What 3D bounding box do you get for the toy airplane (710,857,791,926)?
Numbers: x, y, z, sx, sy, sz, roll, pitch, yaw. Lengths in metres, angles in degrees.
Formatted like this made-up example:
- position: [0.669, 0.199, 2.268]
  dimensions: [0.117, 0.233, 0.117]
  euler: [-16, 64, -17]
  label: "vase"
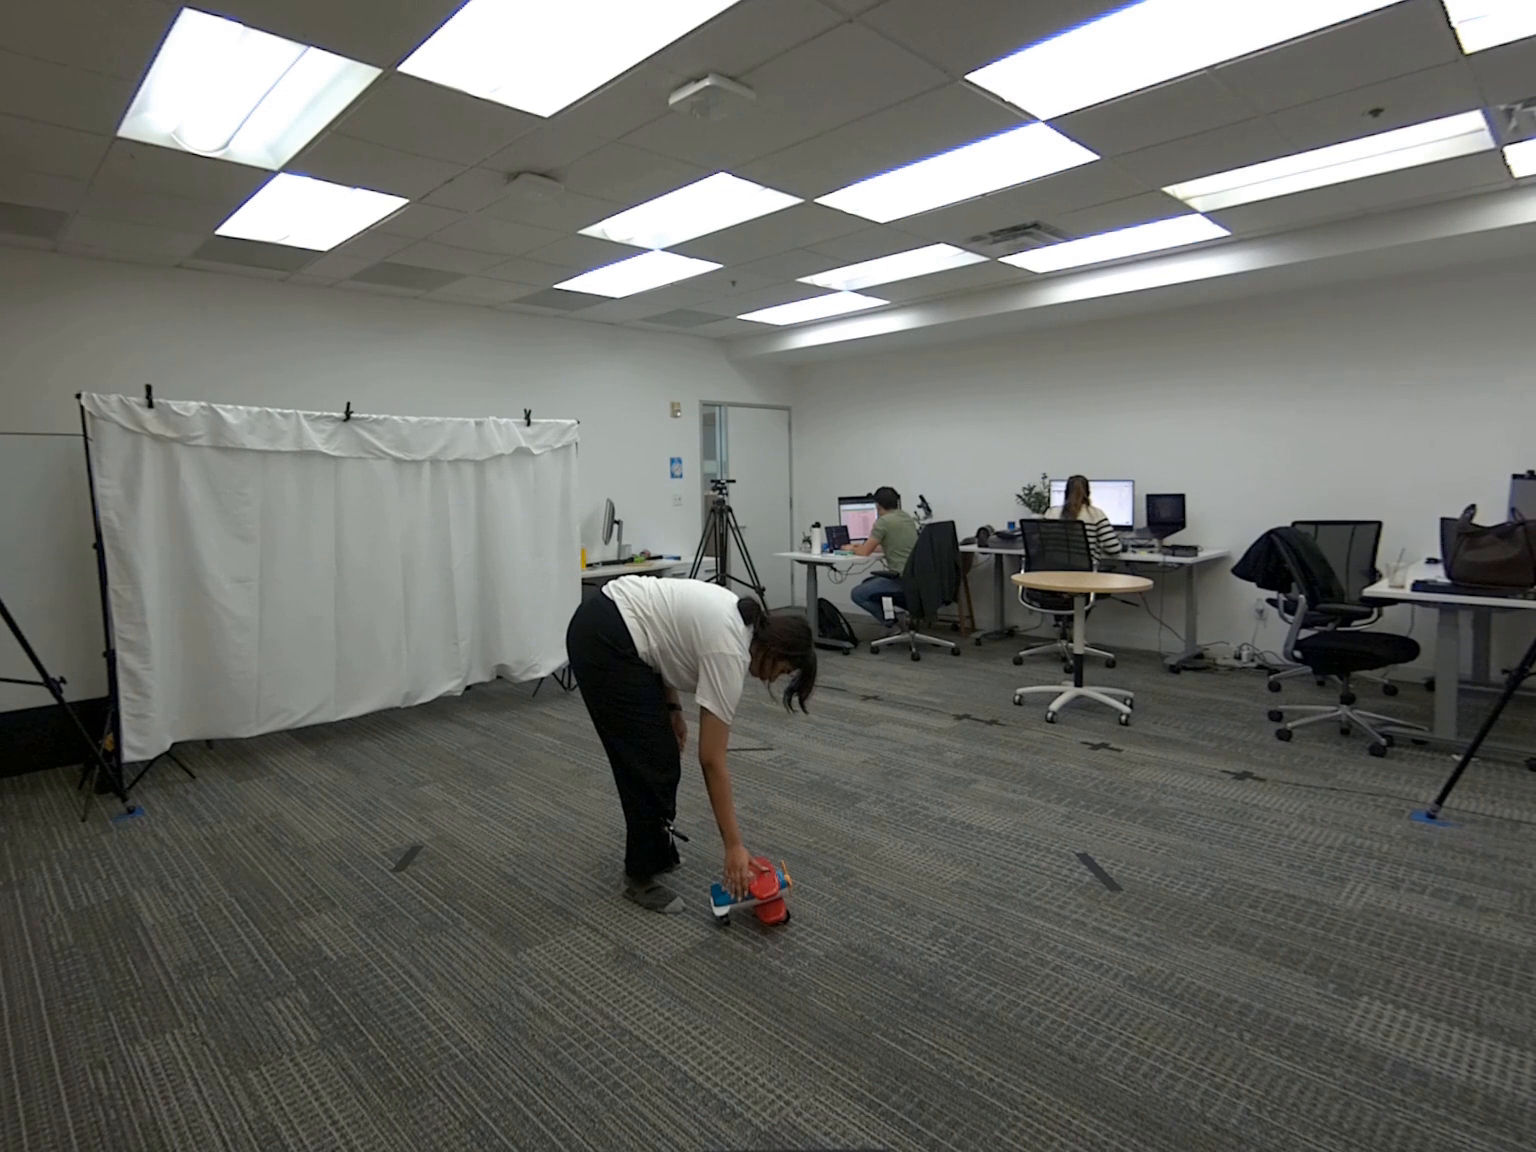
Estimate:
- position: [-0.039, 1.025, 2.693]
  dimensions: [0.253, 0.155, 0.259]
  euler: [-6, 9, -36]
  label: "toy airplane"
